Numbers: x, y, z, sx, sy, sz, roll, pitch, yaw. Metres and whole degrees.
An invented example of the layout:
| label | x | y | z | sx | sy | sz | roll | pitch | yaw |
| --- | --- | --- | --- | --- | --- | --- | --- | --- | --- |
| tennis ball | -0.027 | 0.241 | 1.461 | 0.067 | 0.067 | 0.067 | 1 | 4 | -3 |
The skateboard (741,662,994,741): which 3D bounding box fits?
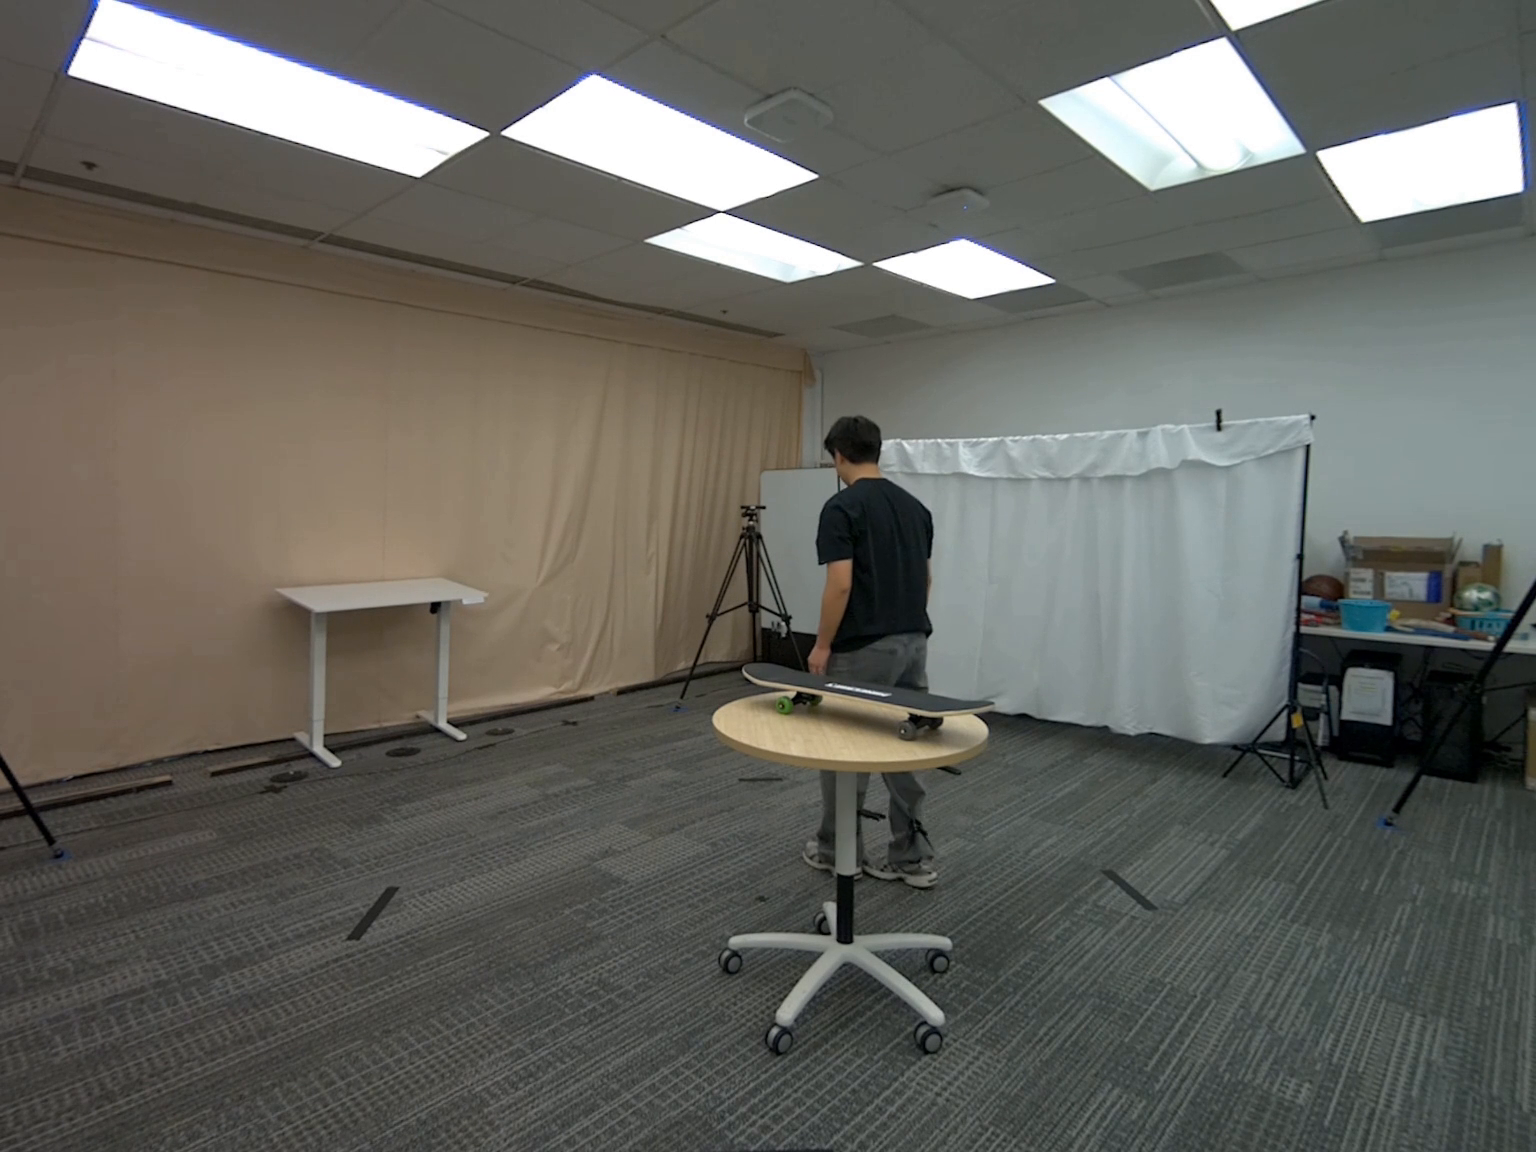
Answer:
| label | x | y | z | sx | sy | sz | roll | pitch | yaw |
| --- | --- | --- | --- | --- | --- | --- | --- | --- | --- |
| skateboard | 0.247 | 0.360 | 2.375 | 0.812 | 0.110 | 0.188 | 5 | 7 | 40 |
